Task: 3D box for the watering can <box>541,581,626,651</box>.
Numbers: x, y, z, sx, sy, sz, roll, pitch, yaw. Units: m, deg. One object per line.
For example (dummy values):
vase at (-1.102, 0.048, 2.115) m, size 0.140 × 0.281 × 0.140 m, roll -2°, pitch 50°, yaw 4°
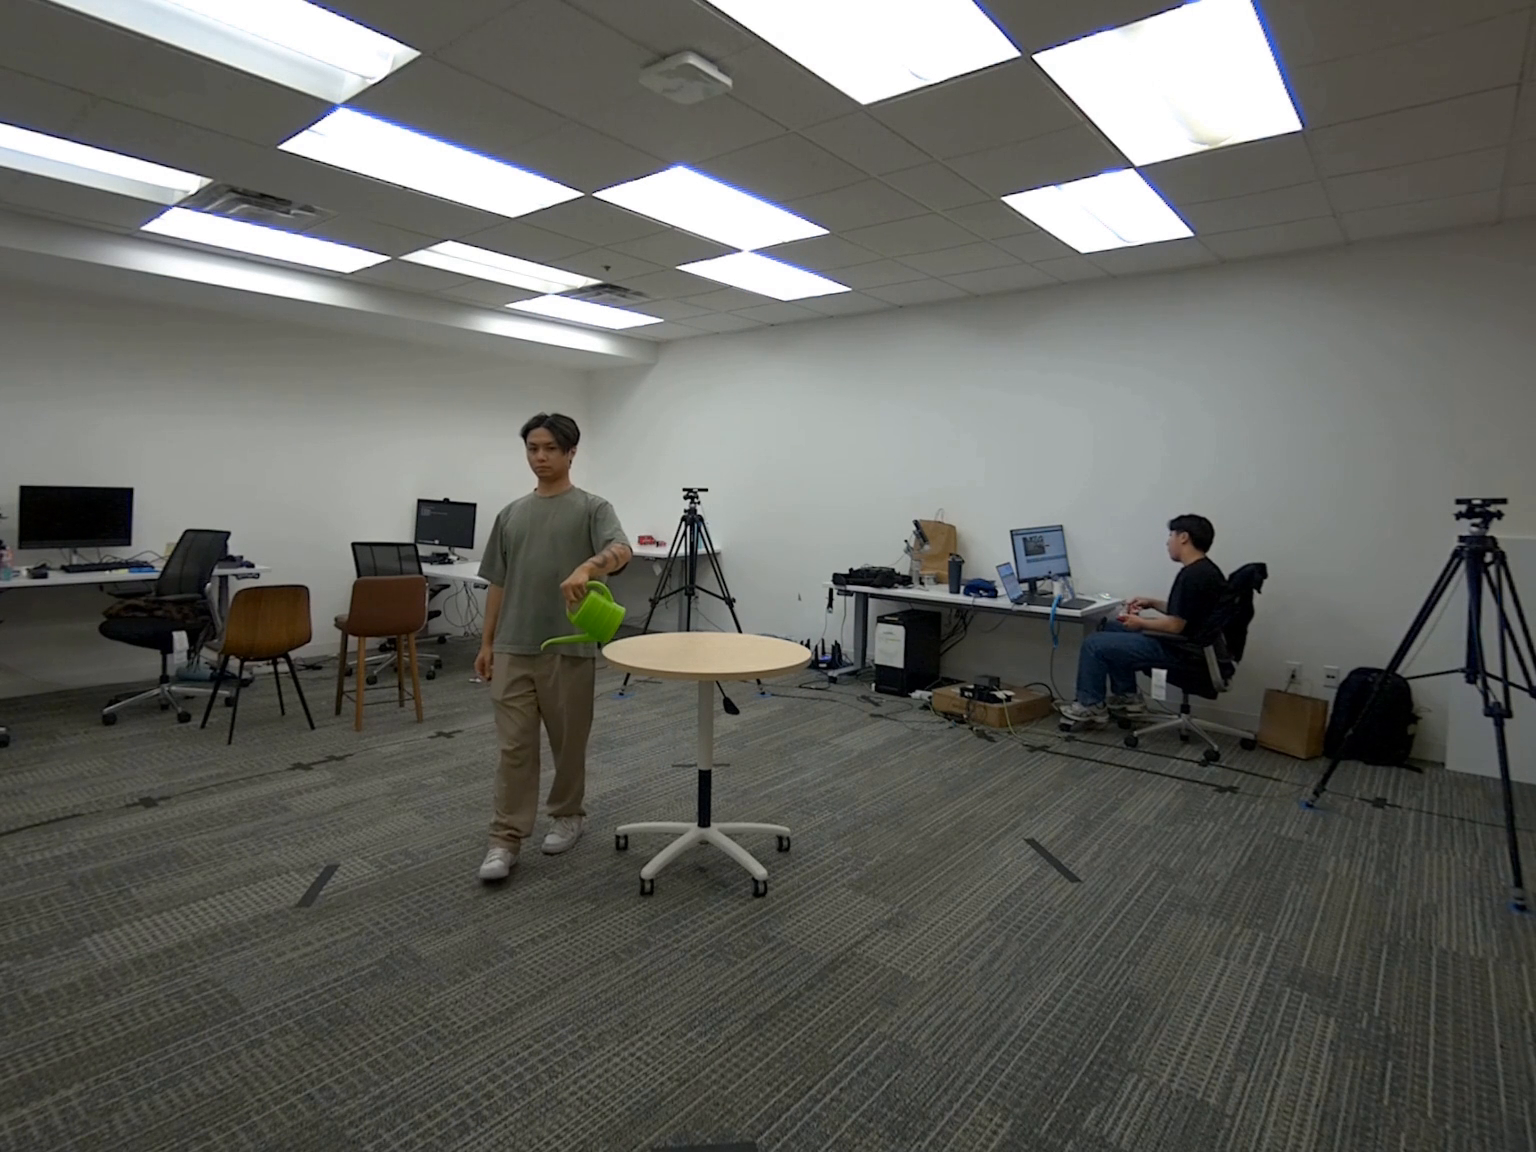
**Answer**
watering can at (-0.612, 0.157, 2.787) m, size 0.174 × 0.278 × 0.099 m, roll 33°, pitch 8°, yaw -10°
